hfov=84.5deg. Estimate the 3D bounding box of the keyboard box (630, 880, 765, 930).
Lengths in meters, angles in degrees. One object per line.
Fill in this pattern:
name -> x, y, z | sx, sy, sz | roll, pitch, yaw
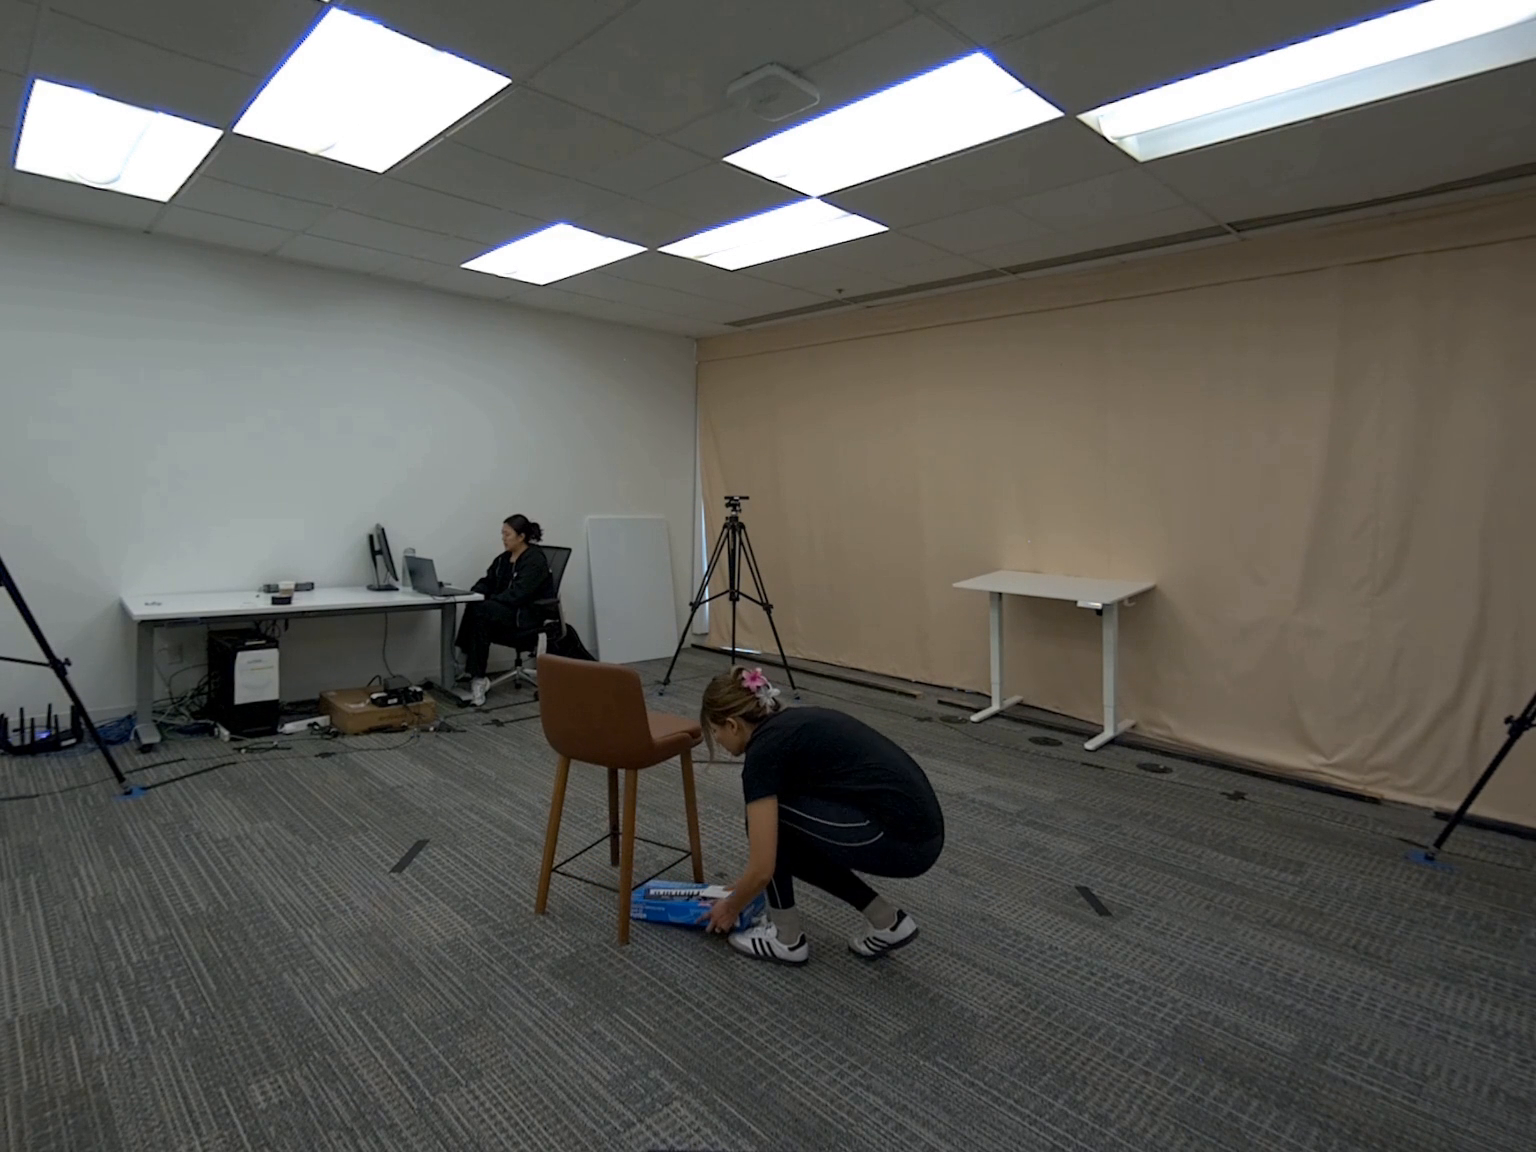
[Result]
keyboard box -> -0.250, 1.079, 2.755 | 0.444, 0.059, 0.173 | -5, 3, 26
